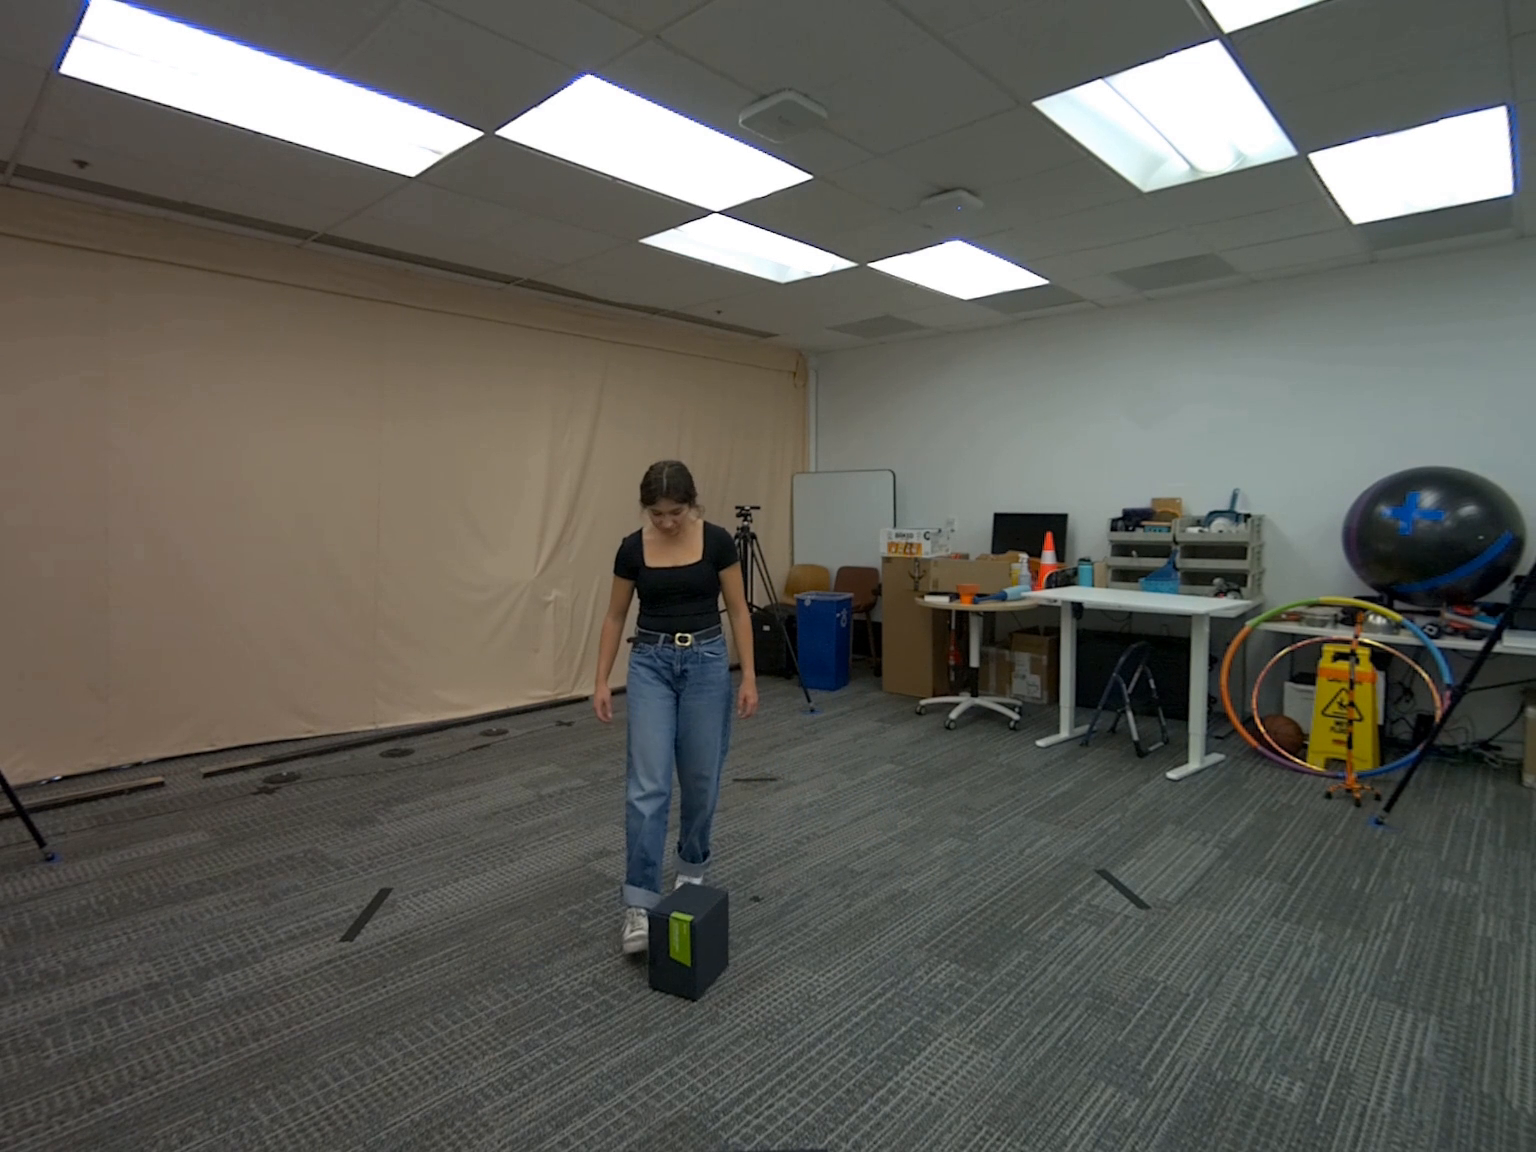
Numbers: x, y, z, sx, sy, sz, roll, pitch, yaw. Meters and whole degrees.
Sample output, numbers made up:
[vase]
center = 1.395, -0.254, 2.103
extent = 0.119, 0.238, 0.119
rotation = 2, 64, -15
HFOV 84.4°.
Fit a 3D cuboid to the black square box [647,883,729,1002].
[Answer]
[black square box]
center = -0.235, 1.067, 2.488
extent = 0.160, 0.227, 0.212
rotation = 1, 4, 23
